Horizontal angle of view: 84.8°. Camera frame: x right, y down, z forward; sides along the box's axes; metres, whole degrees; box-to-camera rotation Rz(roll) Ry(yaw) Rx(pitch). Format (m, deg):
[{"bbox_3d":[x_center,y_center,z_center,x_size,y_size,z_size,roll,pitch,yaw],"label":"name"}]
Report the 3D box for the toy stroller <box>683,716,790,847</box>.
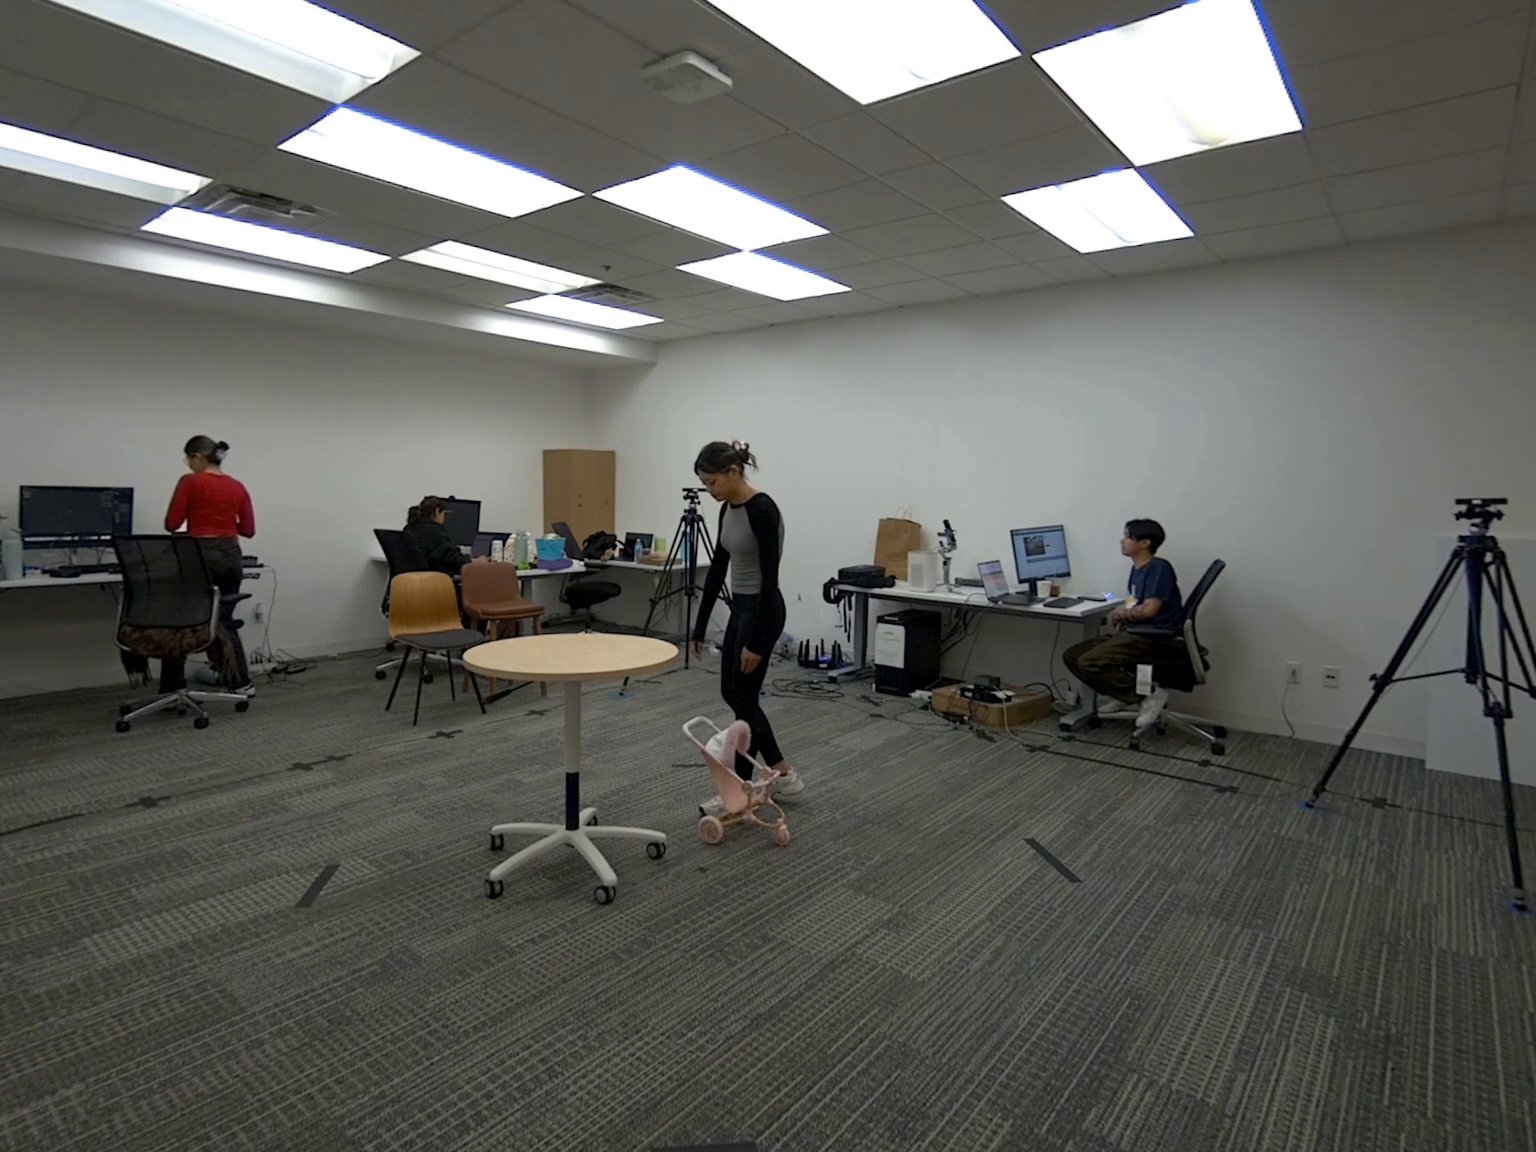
[{"bbox_3d":[-0.124,0.818,3.404,0.348,0.537,0.275,-14,-3,28],"label":"toy stroller"}]
